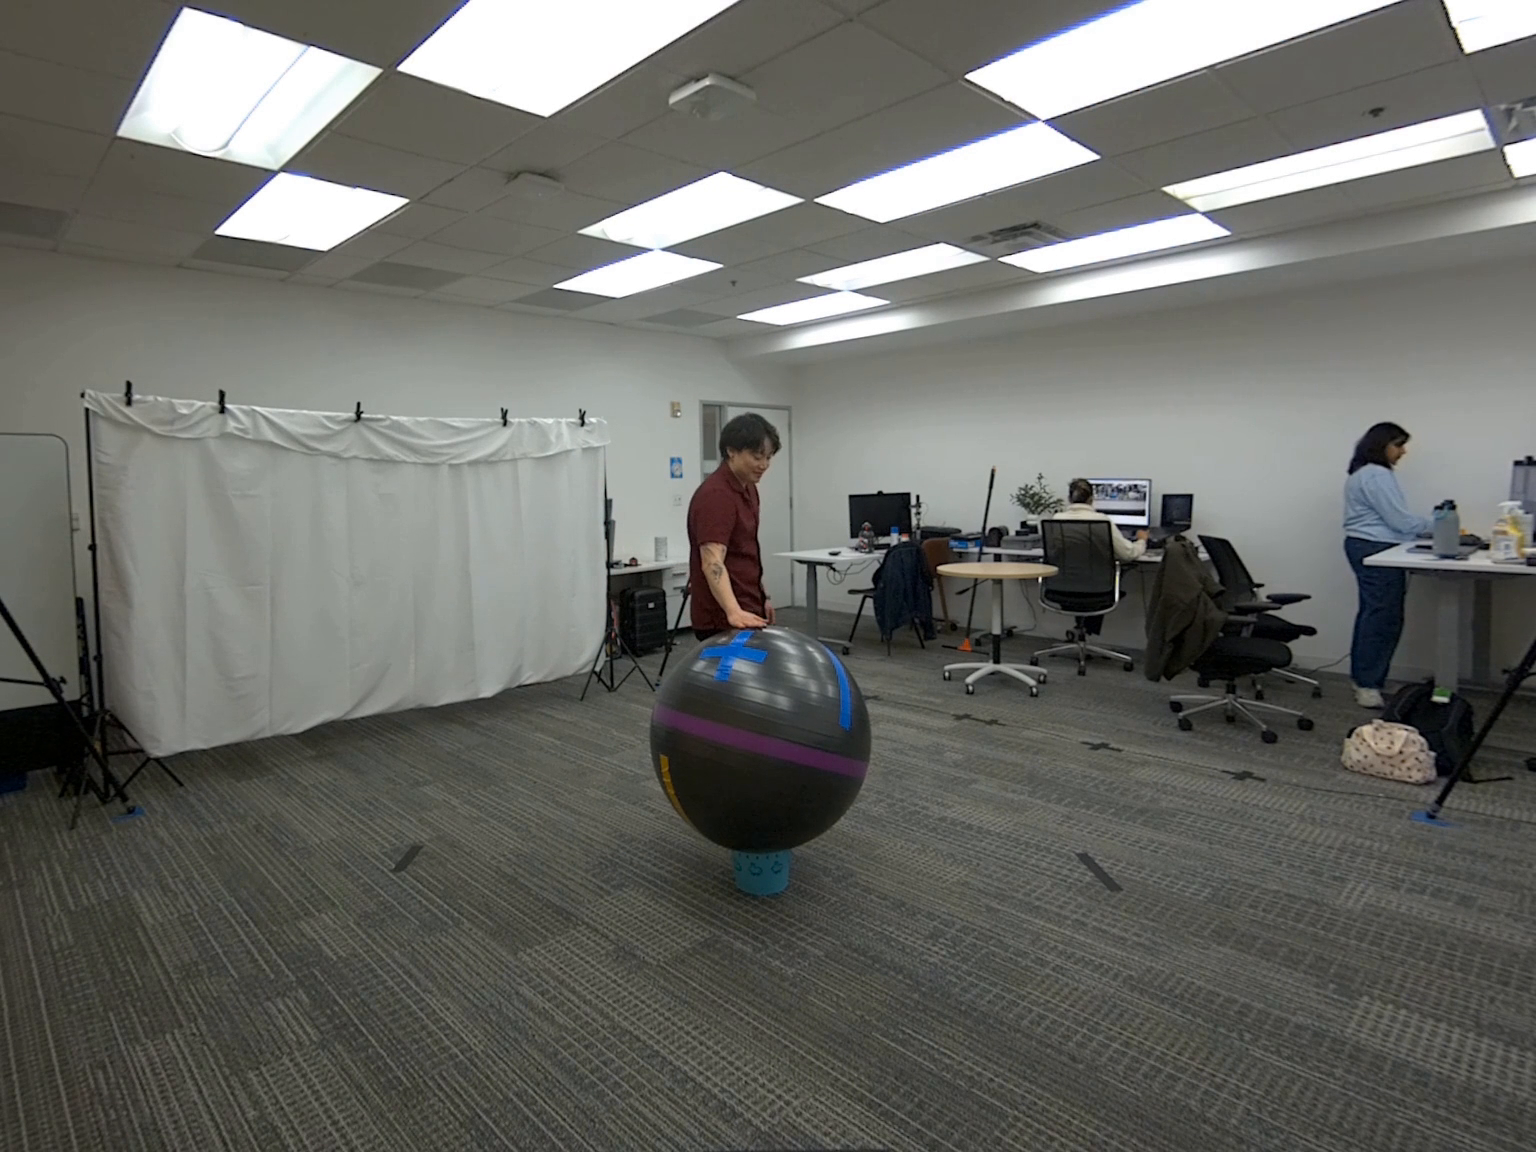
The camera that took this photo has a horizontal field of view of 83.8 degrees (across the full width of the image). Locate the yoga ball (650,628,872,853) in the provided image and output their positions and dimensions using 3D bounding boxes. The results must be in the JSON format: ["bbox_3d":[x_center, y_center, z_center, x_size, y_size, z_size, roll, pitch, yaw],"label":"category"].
[{"bbox_3d":[-0.027,0.555,2.950,0.757,0.755,0.762,-1,5,-2],"label":"yoga ball"}]
